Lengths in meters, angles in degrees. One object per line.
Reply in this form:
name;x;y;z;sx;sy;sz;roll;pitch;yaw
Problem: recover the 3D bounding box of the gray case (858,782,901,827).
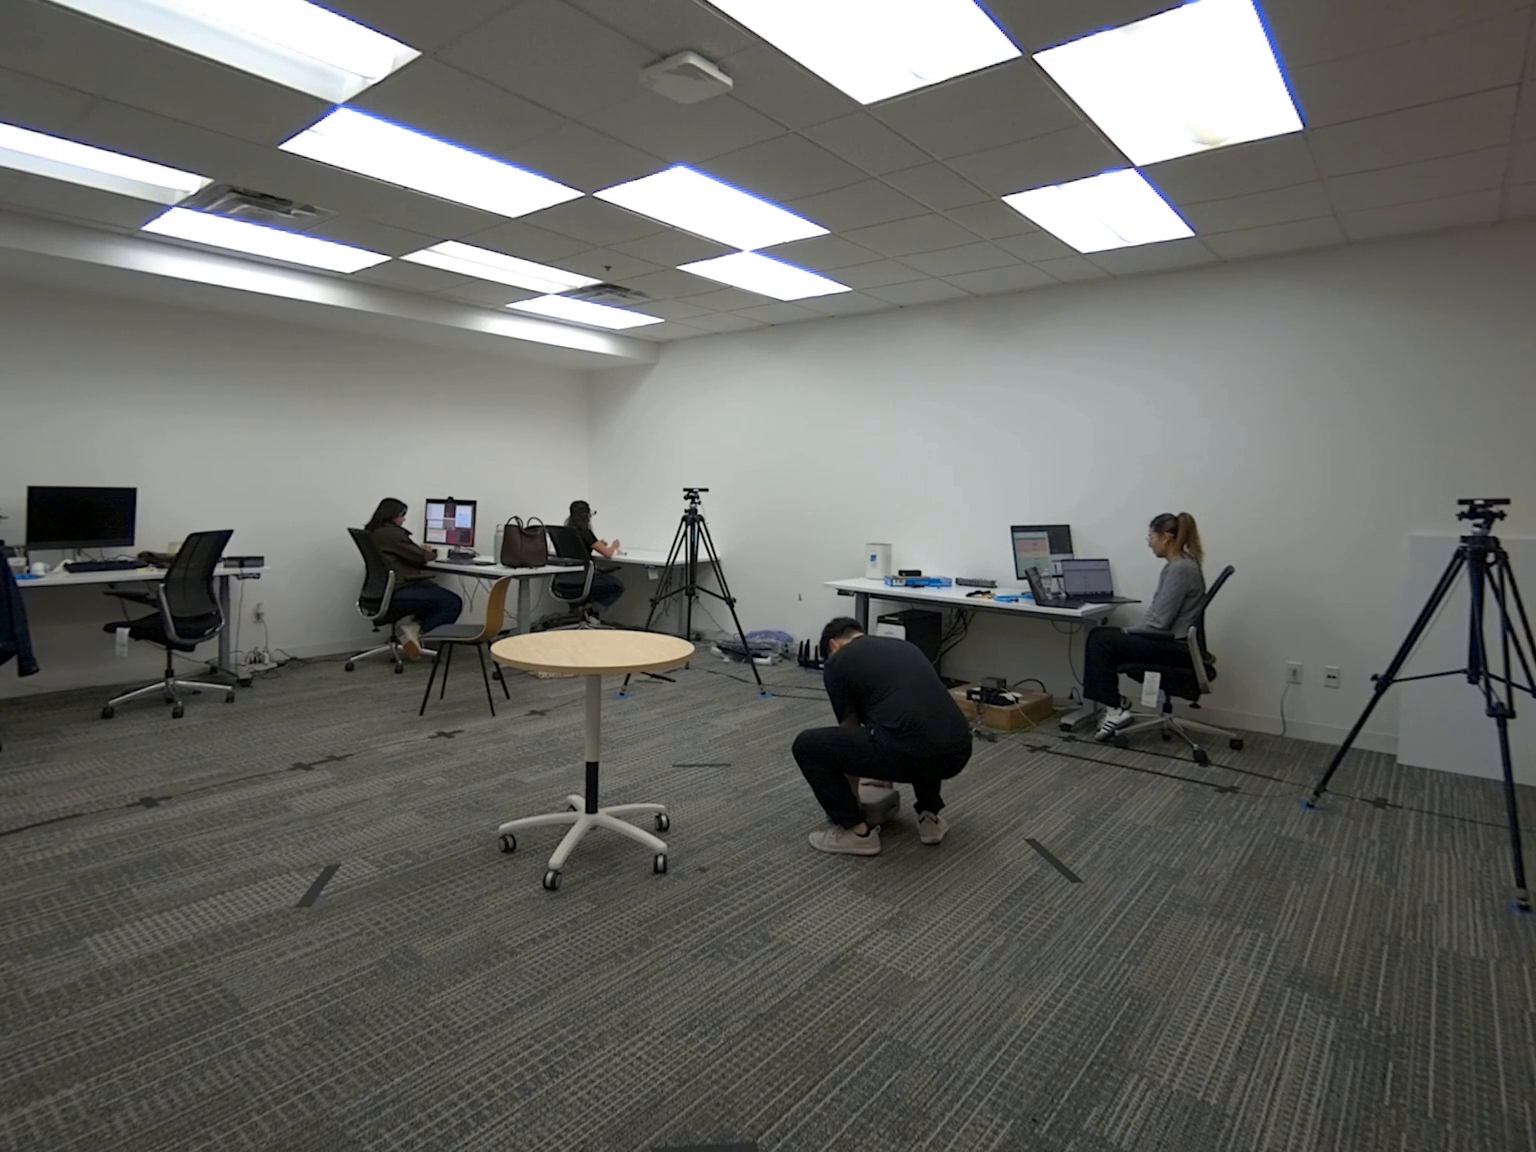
gray case;0.402;0.967;3.638;0.268;0.104;0.249;-2;0;35
